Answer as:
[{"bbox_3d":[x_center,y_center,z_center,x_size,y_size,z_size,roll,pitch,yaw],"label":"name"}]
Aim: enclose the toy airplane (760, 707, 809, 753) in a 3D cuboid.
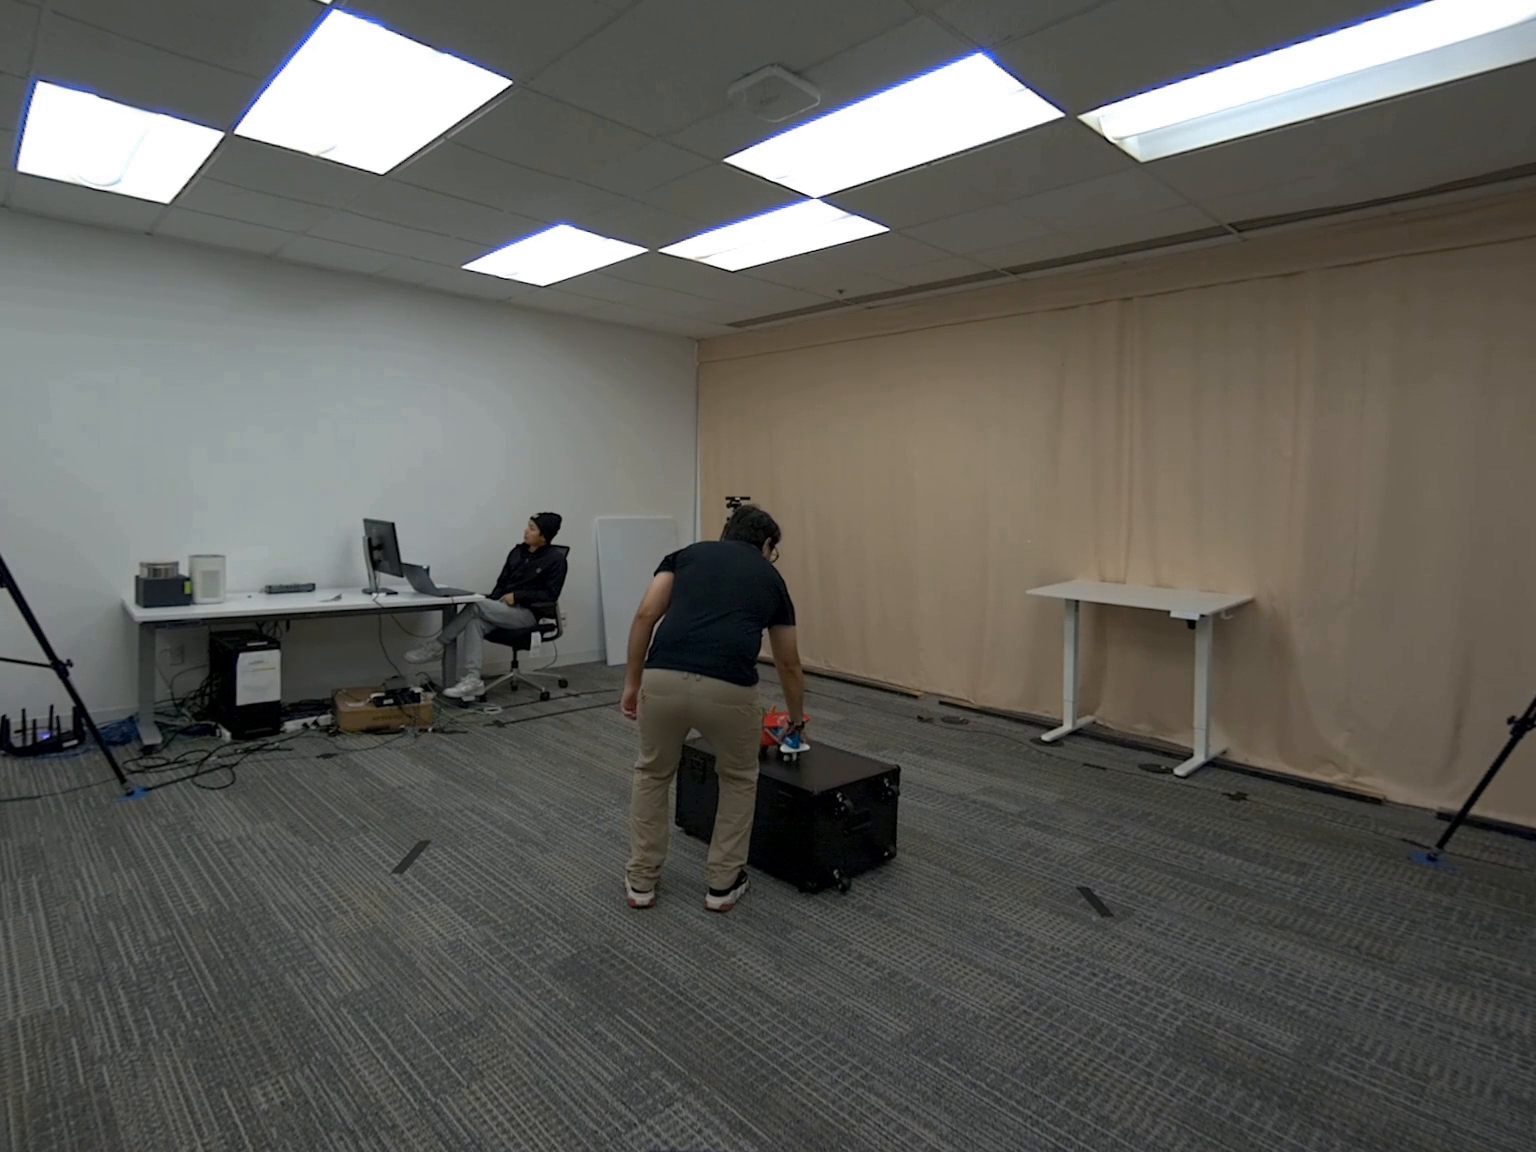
[{"bbox_3d":[0.064,0.634,3.345,0.265,0.156,0.246,3,5,39],"label":"toy airplane"}]
